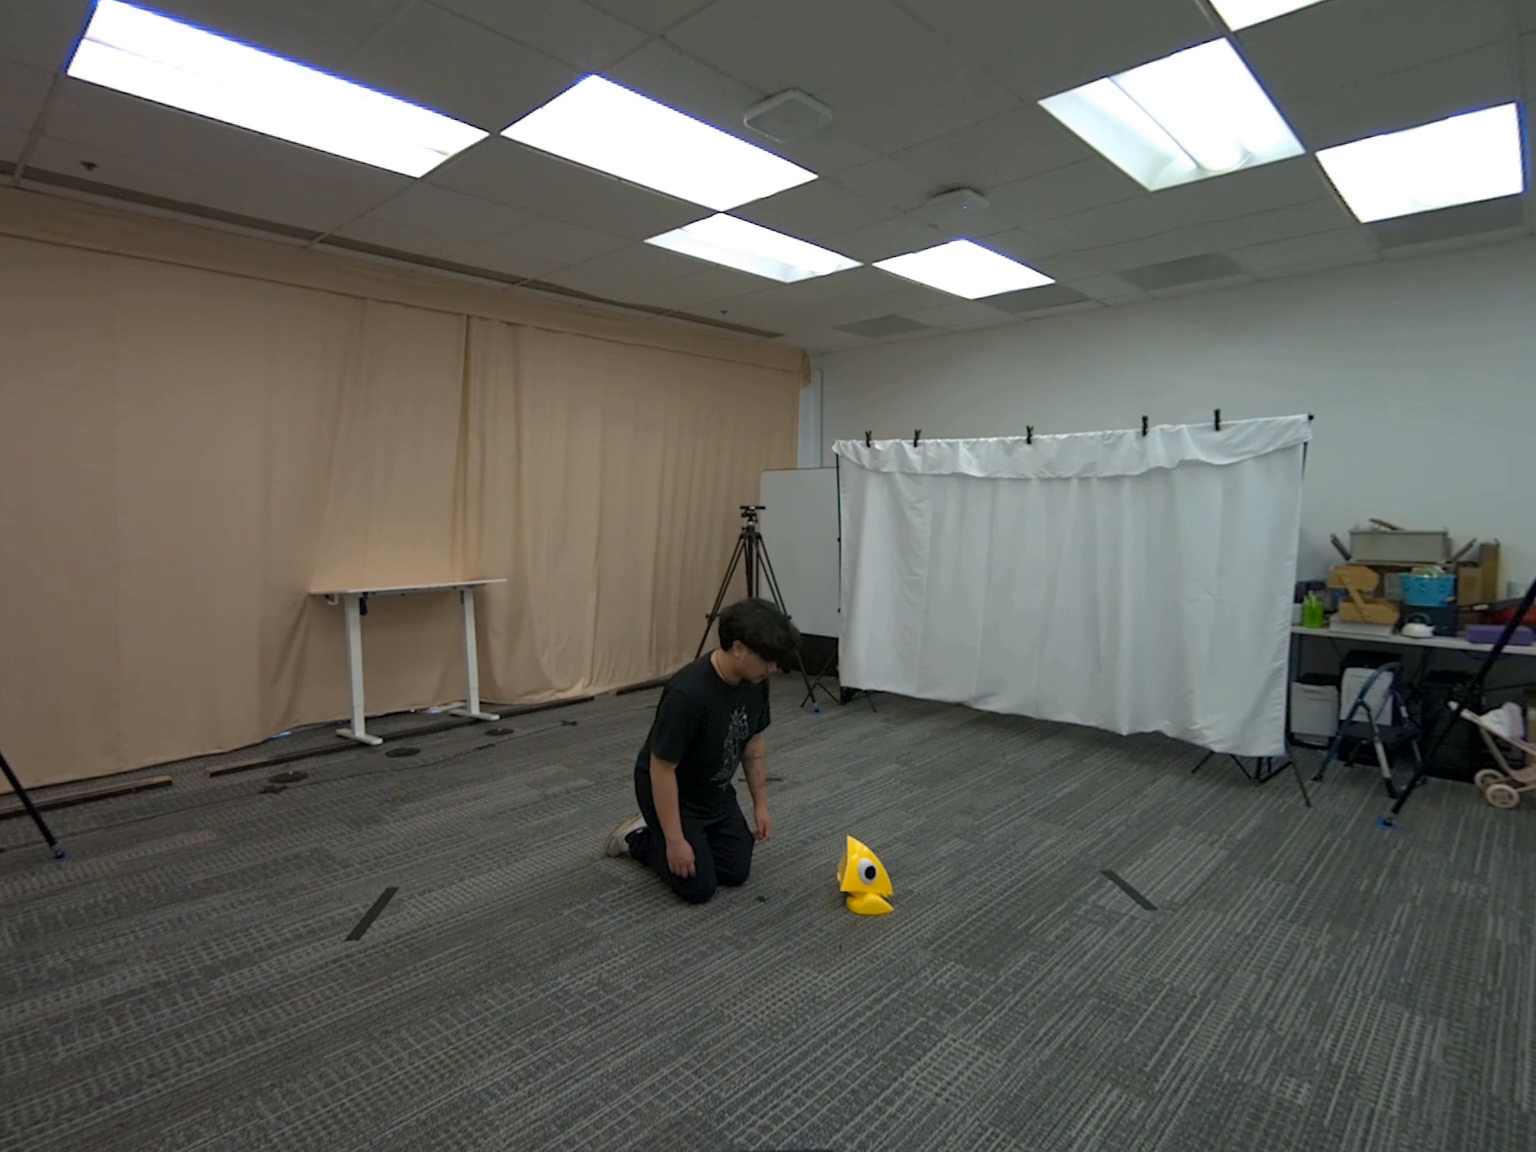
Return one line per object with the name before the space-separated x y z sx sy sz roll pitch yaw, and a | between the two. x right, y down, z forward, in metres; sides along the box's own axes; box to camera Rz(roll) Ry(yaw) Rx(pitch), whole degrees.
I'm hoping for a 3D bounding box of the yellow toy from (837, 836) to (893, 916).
yellow toy | 0.352 1.034 2.961 0.194 0.230 0.204 -1 4 3
